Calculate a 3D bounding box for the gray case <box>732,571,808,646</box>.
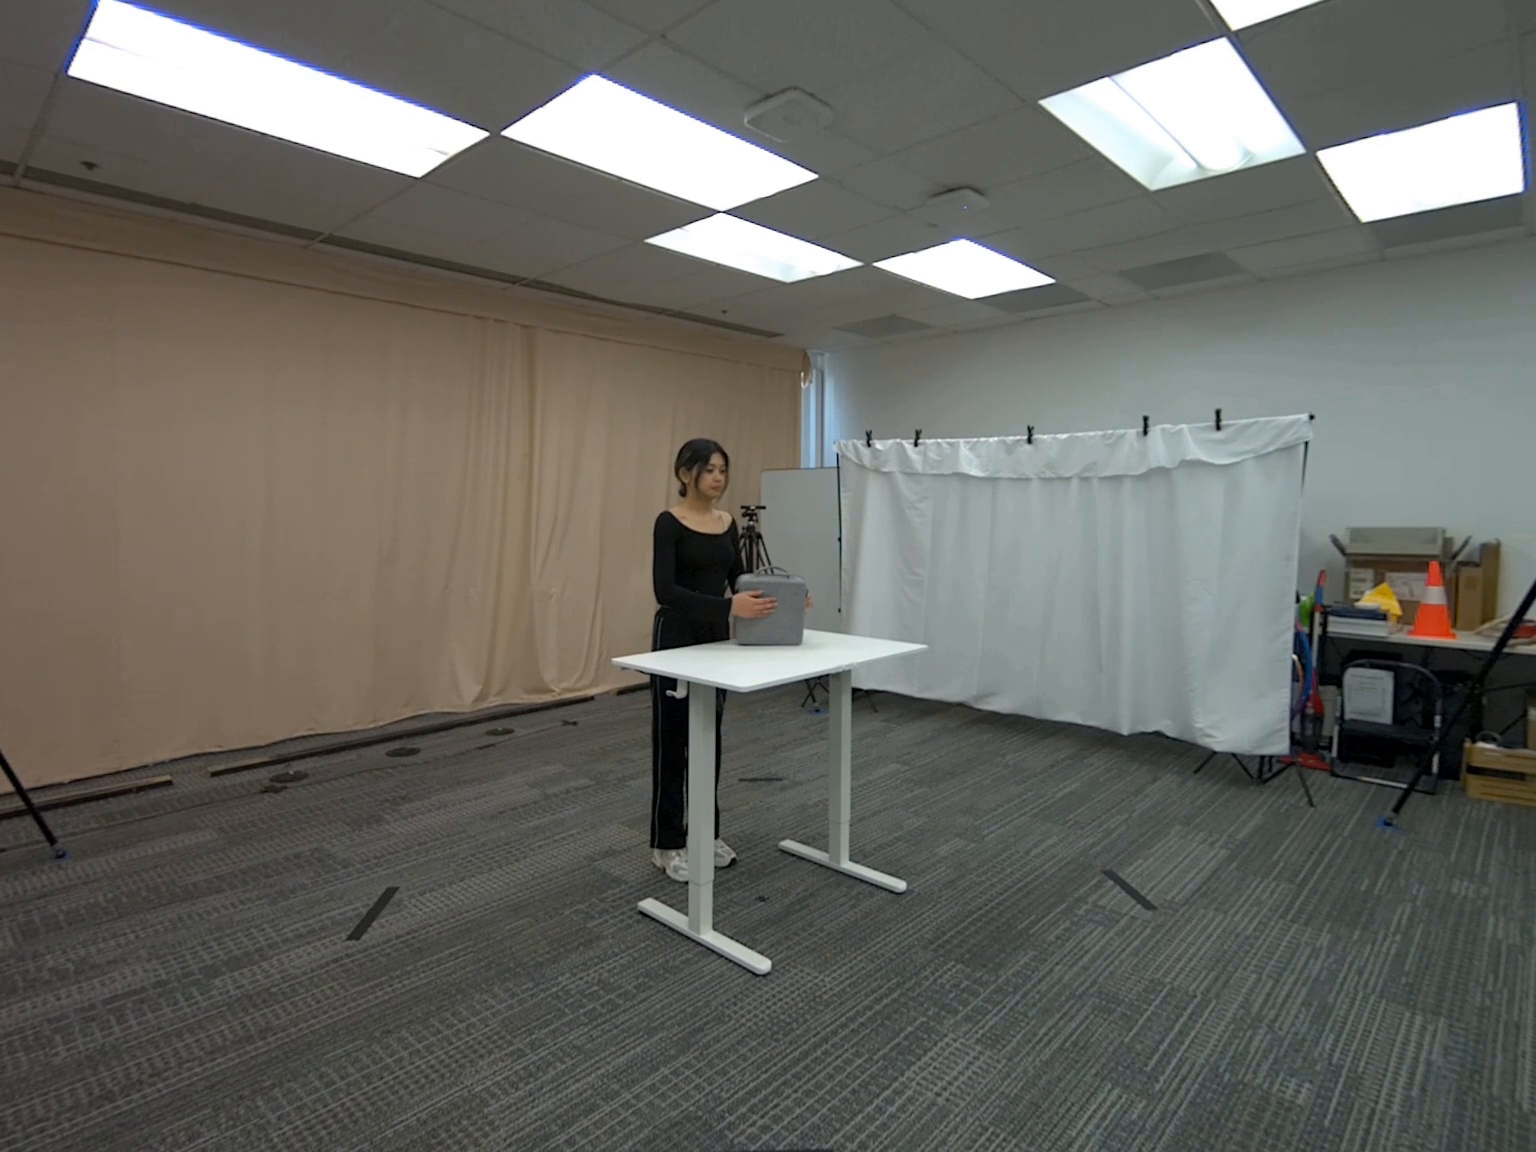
[{"bbox_3d":[0.006,0.124,3.078,0.256,0.259,0.105,1,9,-1],"label":"gray case"}]
